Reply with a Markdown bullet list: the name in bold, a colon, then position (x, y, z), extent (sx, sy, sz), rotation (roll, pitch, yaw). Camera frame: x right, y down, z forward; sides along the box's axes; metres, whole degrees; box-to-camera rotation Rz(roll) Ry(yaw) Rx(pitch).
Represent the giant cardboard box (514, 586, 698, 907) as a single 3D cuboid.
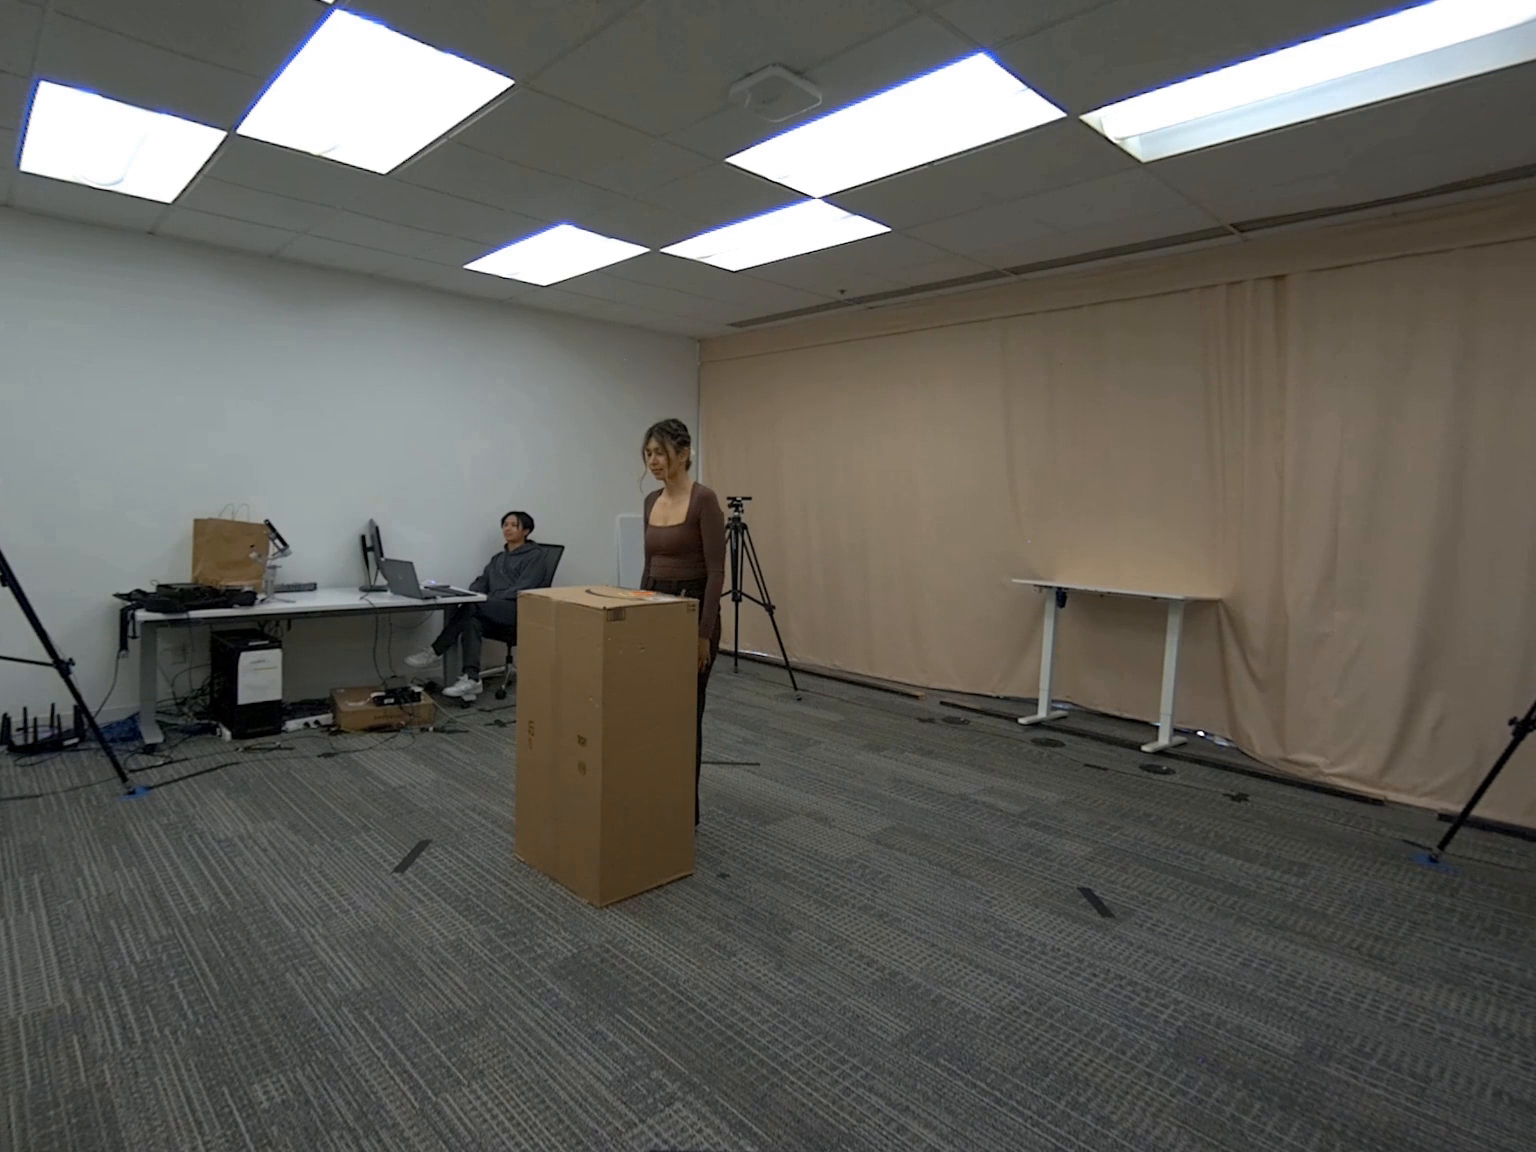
- **giant cardboard box**: position (-0.617, 0.580, 3.147), extent (0.436, 1.025, 0.599), rotation (0, 4, -43)
